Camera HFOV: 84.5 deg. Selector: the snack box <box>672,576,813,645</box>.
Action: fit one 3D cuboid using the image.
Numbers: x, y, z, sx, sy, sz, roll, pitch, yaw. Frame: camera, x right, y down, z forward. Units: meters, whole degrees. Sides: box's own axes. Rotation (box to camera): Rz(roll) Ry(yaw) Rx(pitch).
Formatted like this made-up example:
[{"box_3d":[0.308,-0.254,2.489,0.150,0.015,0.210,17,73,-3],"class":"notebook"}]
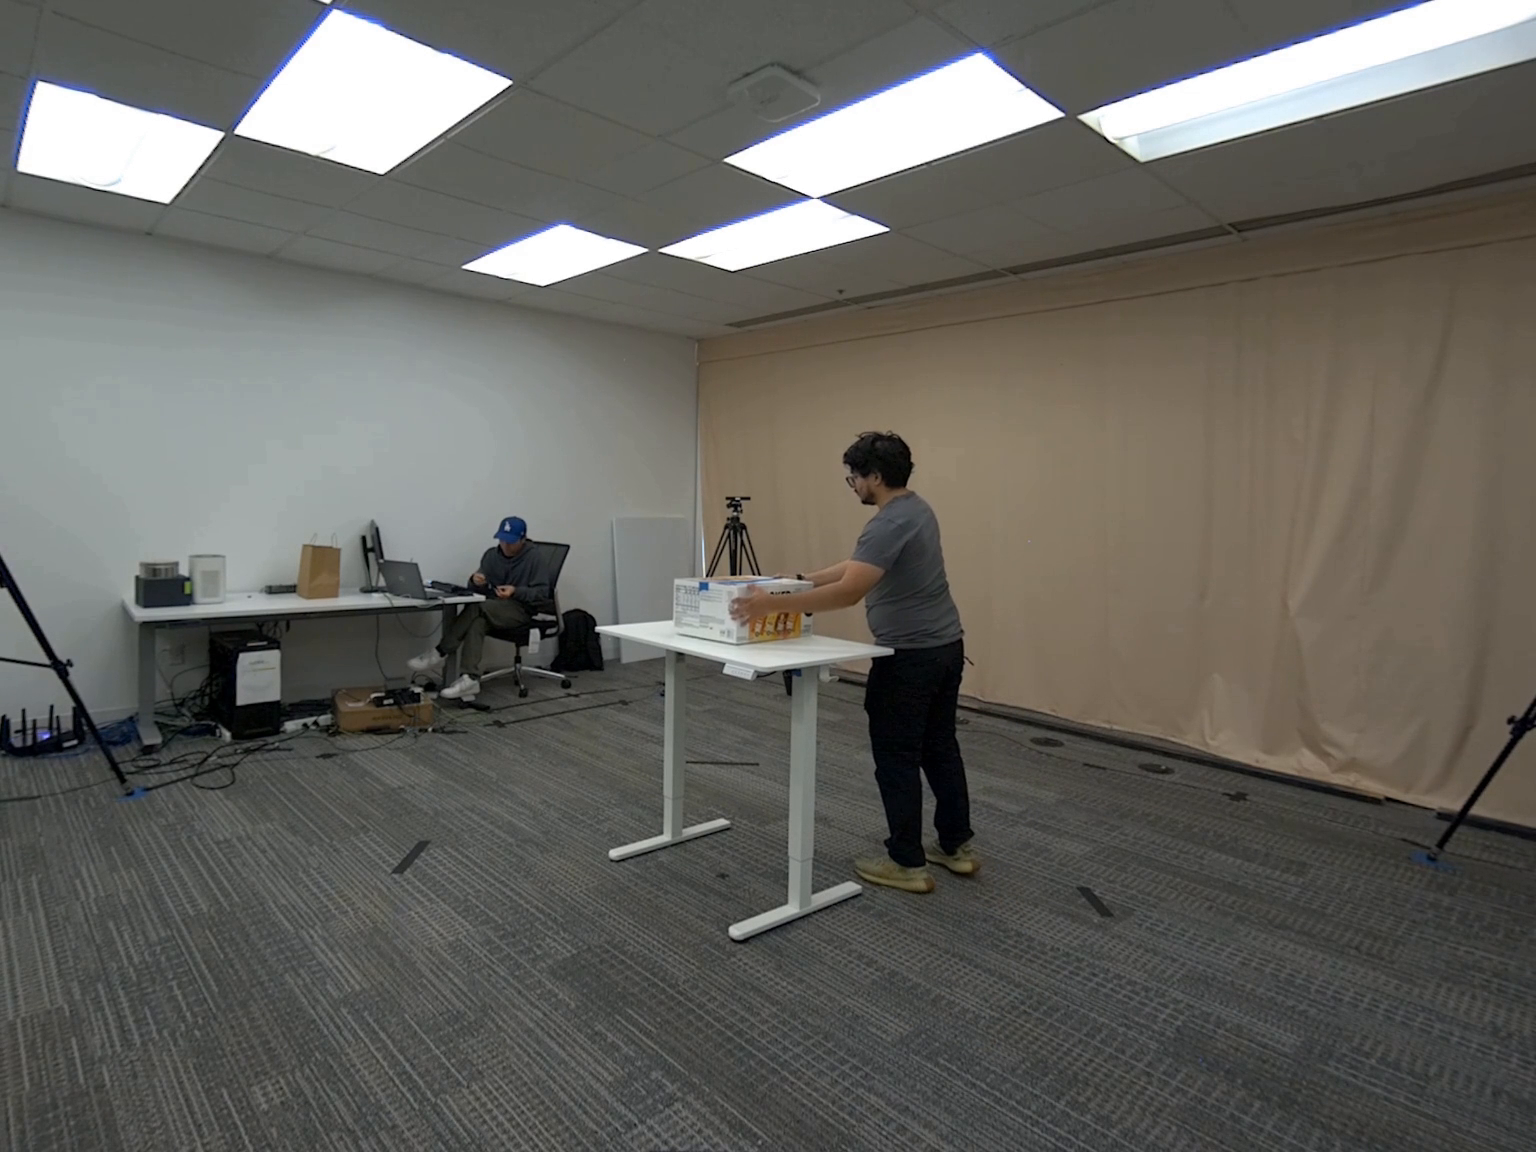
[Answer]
[{"box_3d":[-0.093,0.114,3.144,0.349,0.205,0.396,5,5,44],"class":"snack box"}]
